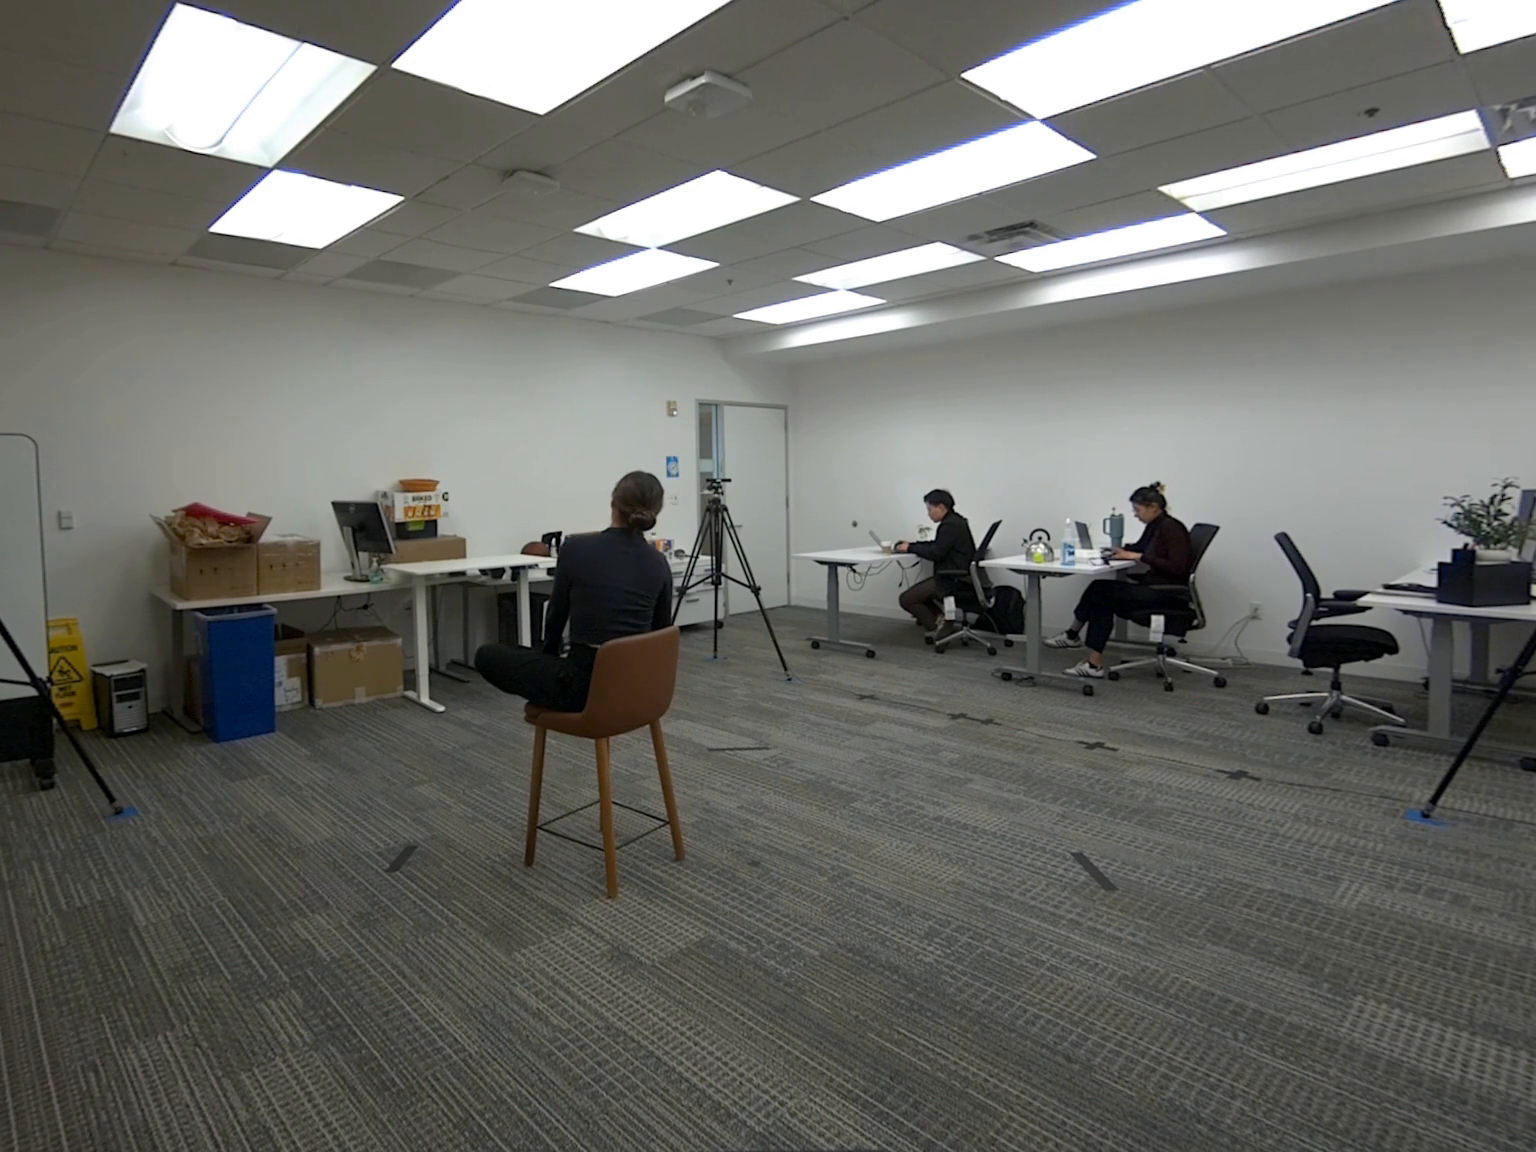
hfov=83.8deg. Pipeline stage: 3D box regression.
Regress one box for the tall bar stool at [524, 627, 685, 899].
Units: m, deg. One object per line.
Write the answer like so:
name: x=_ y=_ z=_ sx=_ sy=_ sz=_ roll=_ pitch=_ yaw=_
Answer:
tall bar stool: x=-0.597 y=0.622 z=3.115 sx=0.482 sy=0.886 sz=0.445 roll=4 pitch=7 yaw=37
